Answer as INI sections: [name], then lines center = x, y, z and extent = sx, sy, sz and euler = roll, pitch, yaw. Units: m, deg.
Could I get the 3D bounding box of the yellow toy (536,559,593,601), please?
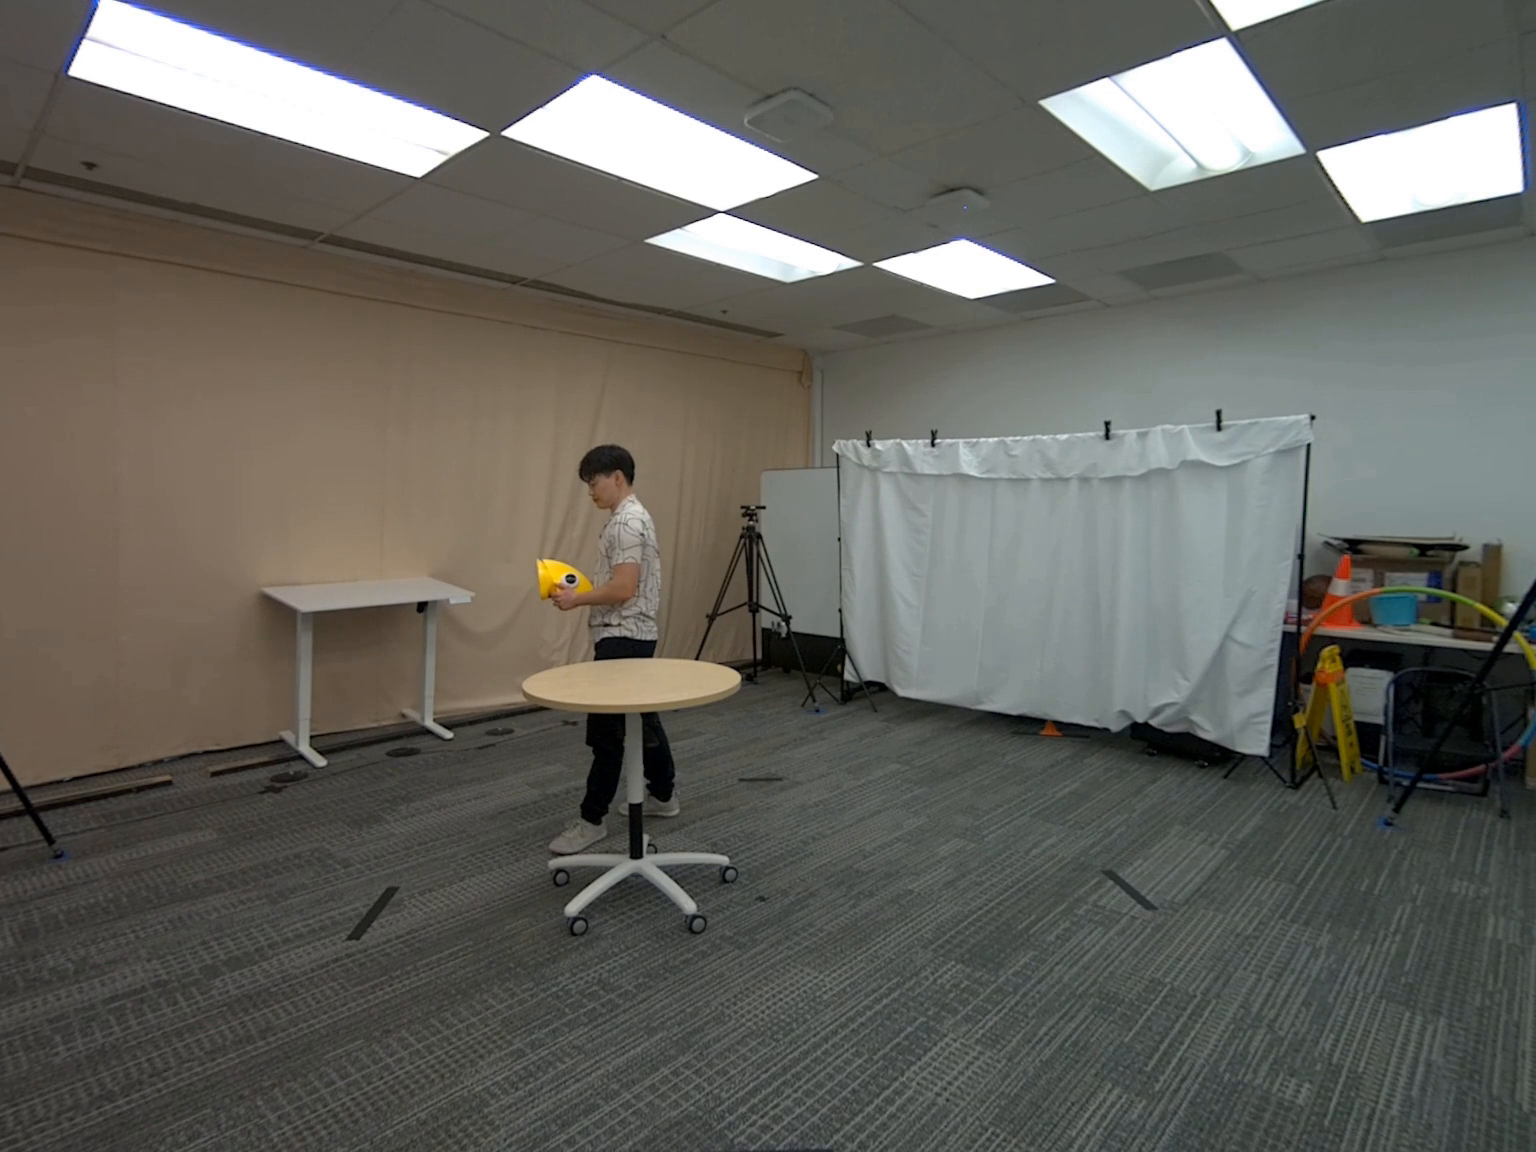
[yellow toy]
center = -0.865, 0.011, 3.596
extent = 0.228, 0.191, 0.209
euler = -7, 11, -12
